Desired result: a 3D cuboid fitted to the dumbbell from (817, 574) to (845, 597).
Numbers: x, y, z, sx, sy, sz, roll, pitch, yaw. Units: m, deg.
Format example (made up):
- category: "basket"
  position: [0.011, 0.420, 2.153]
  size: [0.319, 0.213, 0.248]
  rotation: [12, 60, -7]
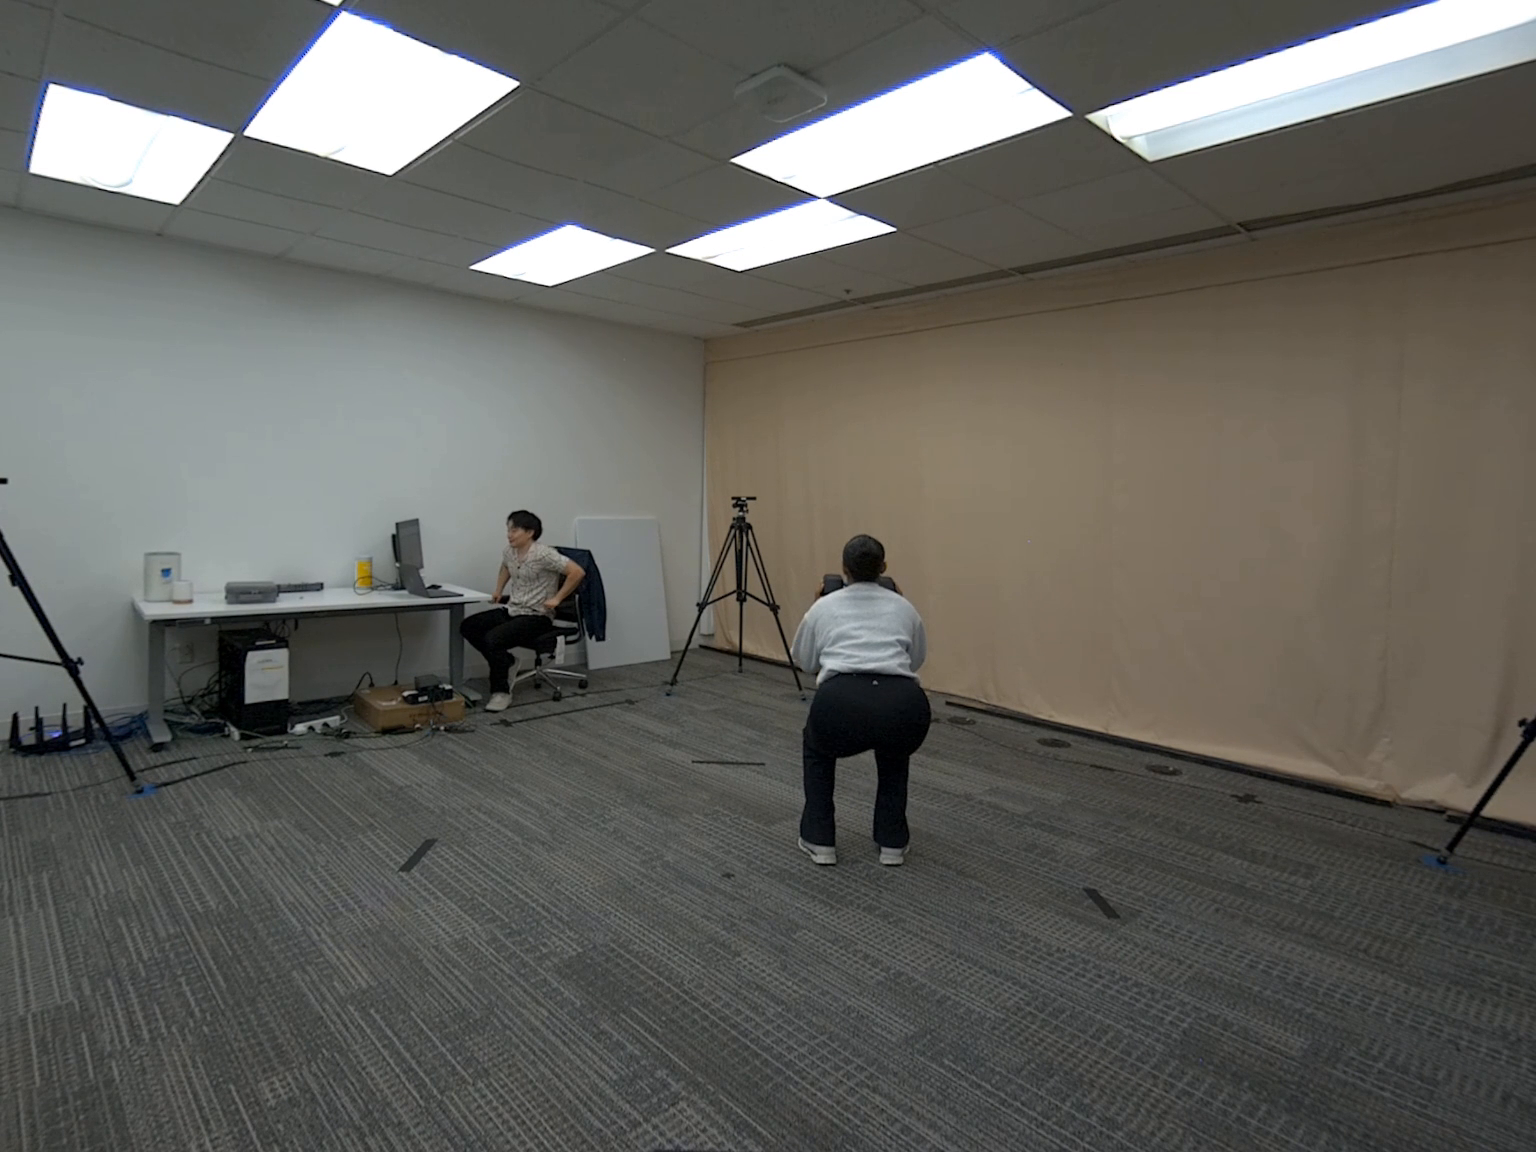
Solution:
- category: "dumbbell"
  position: [0.374, 0.049, 3.483]
  size: [0.294, 0.120, 0.111]
  rotation: [2, 48, 1]
